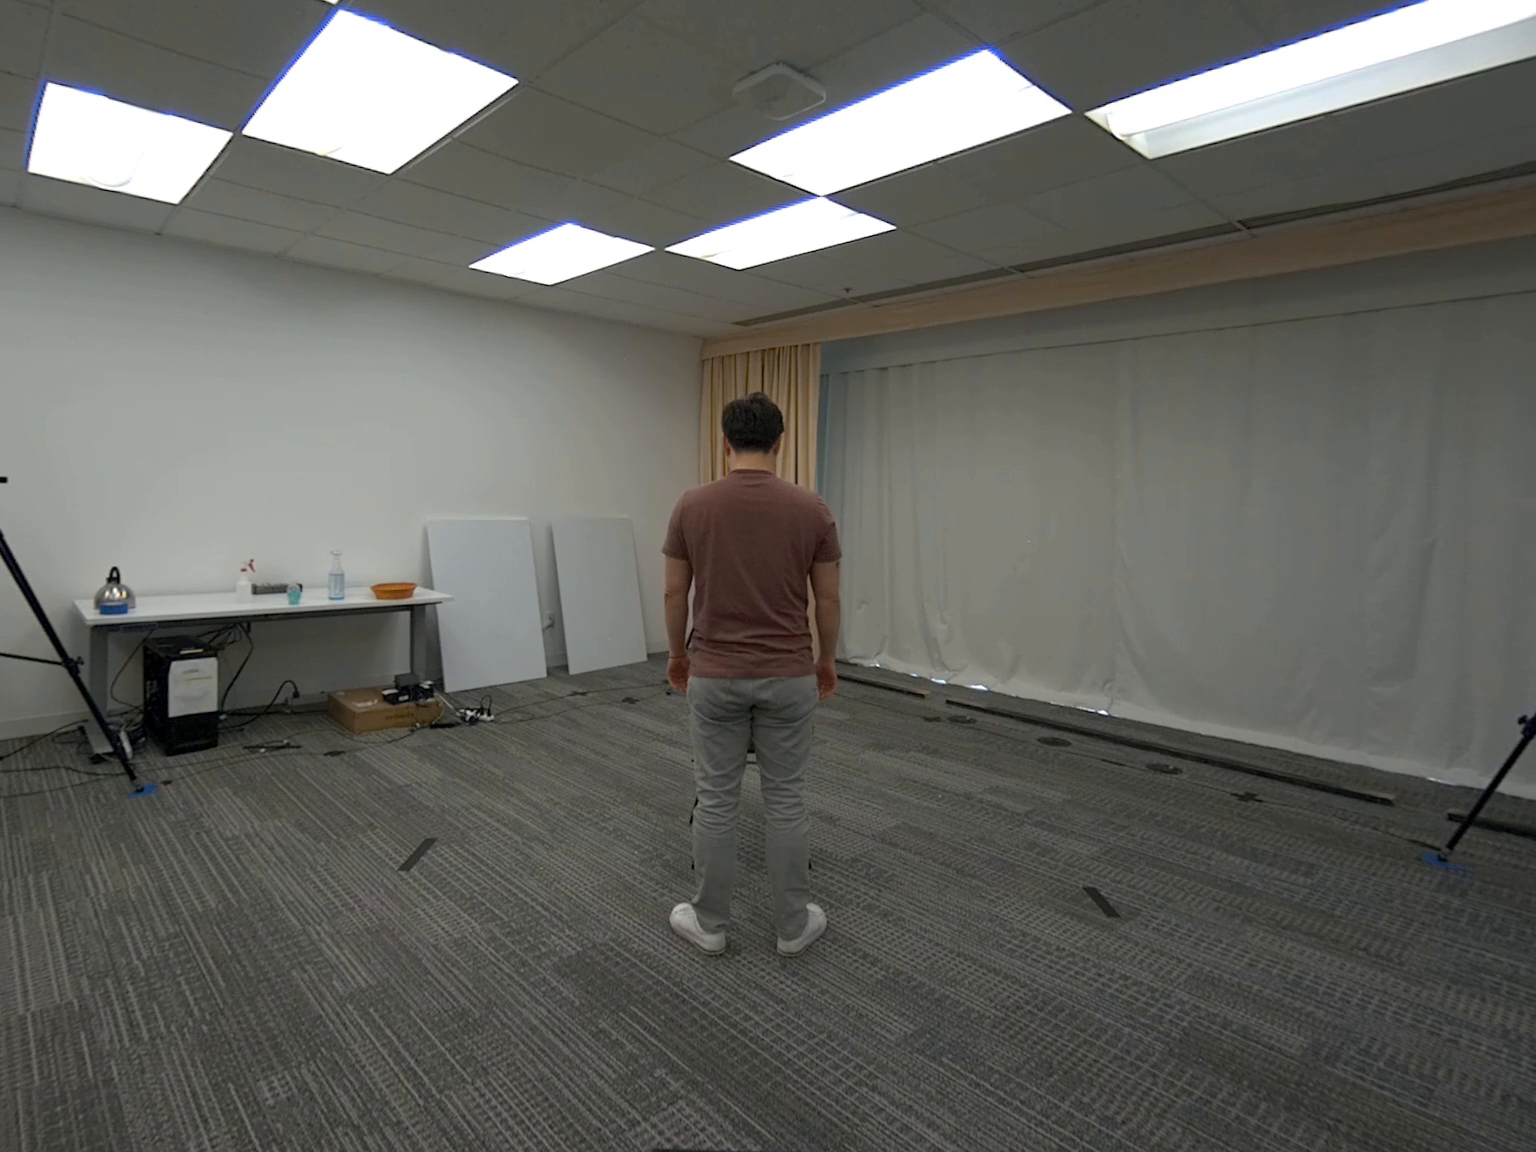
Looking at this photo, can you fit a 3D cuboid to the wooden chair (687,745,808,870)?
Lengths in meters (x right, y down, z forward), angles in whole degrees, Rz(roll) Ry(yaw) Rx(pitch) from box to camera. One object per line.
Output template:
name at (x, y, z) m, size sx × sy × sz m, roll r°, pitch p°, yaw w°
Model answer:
wooden chair at (-0.079, 0.655, 3.356) m, size 0.476 × 0.872 × 0.528 m, roll 0°, pitch 7°, yaw -5°
